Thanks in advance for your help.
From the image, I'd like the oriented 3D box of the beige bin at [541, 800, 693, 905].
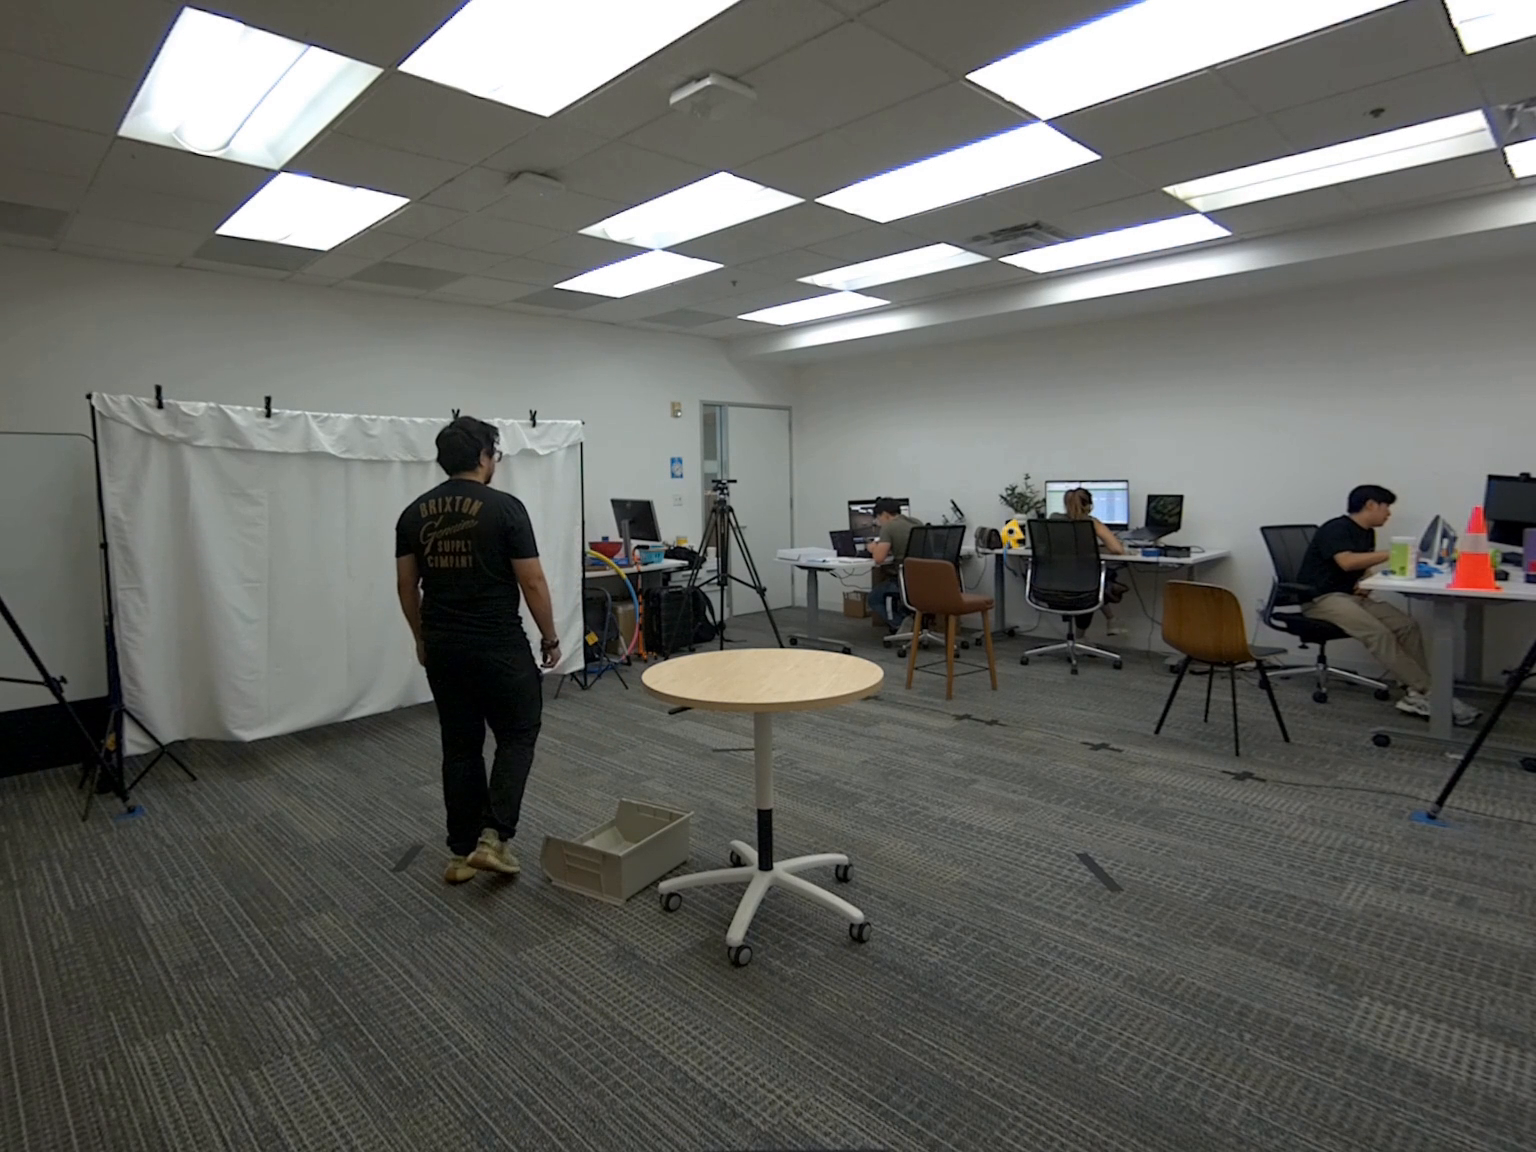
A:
[{"bbox_3d":[-0.535,0.970,3.070,0.388,0.188,0.413,4,7,31],"label":"beige bin"}]
